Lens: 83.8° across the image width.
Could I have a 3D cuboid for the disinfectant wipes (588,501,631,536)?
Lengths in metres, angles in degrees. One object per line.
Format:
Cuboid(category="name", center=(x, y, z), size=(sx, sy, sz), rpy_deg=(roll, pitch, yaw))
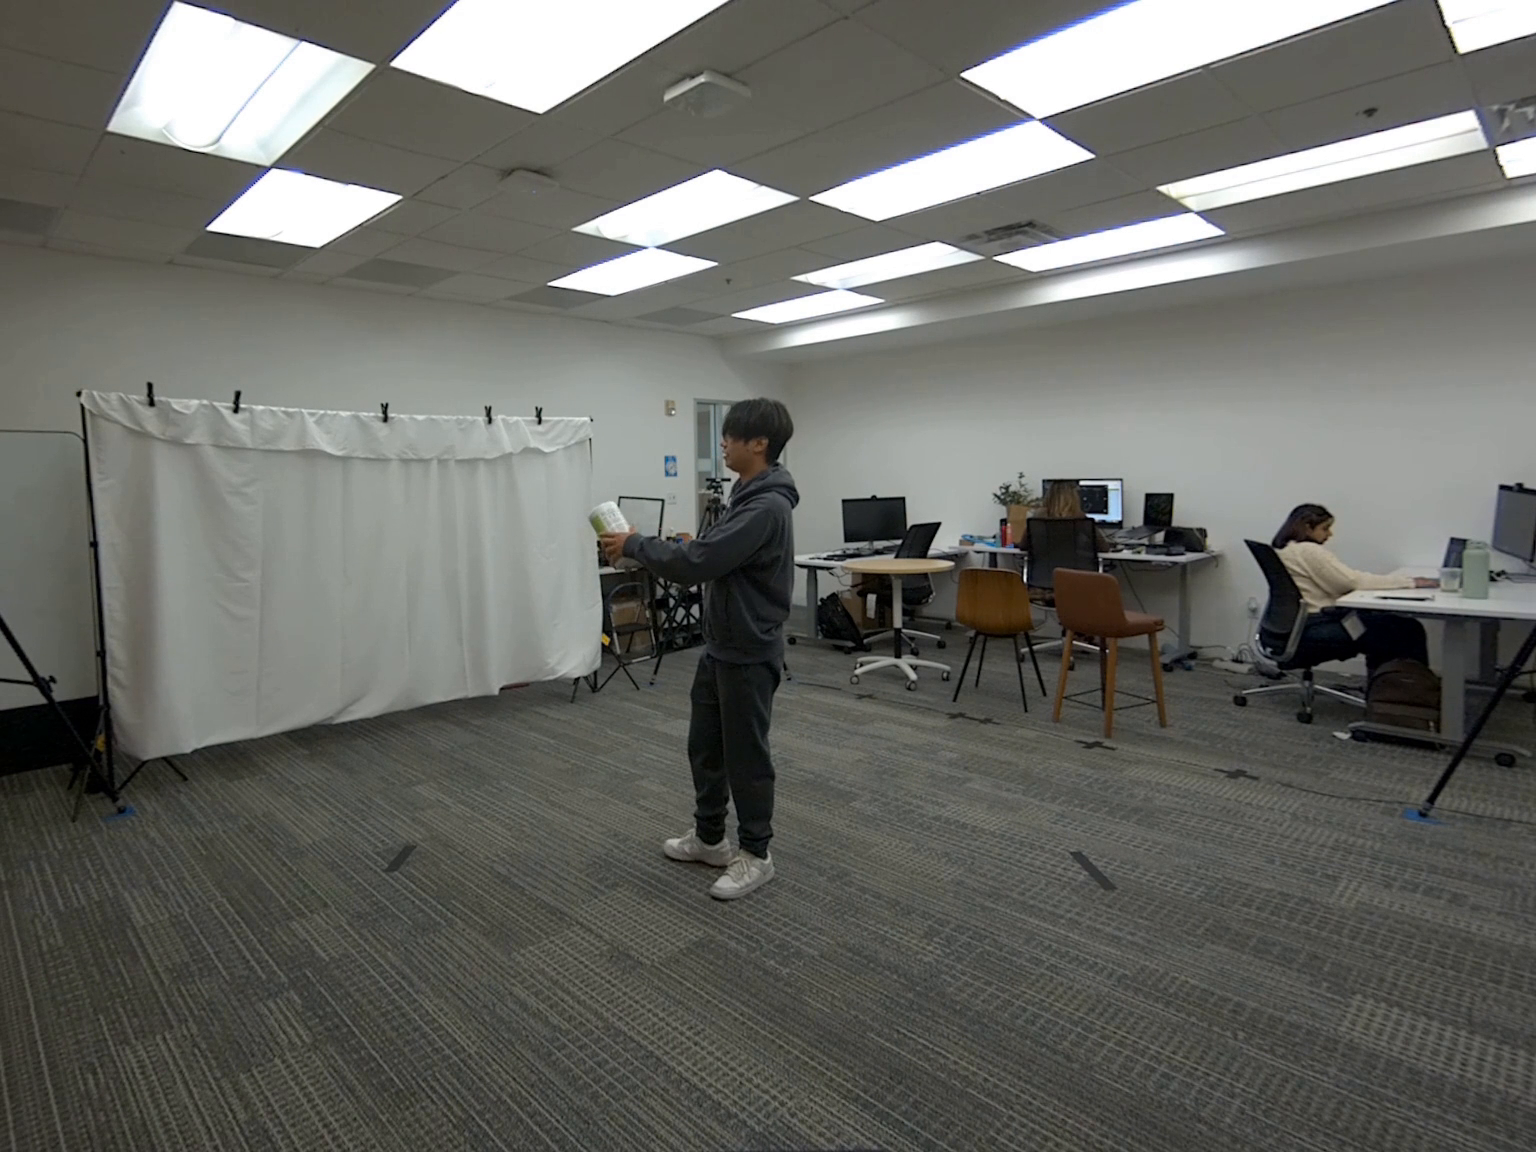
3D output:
Cuboid(category="disinfectant wipes", center=(-0.508, -0.141, 2.887), size=(0.117, 0.221, 0.116), rpy_deg=(-31, -14, -10))
